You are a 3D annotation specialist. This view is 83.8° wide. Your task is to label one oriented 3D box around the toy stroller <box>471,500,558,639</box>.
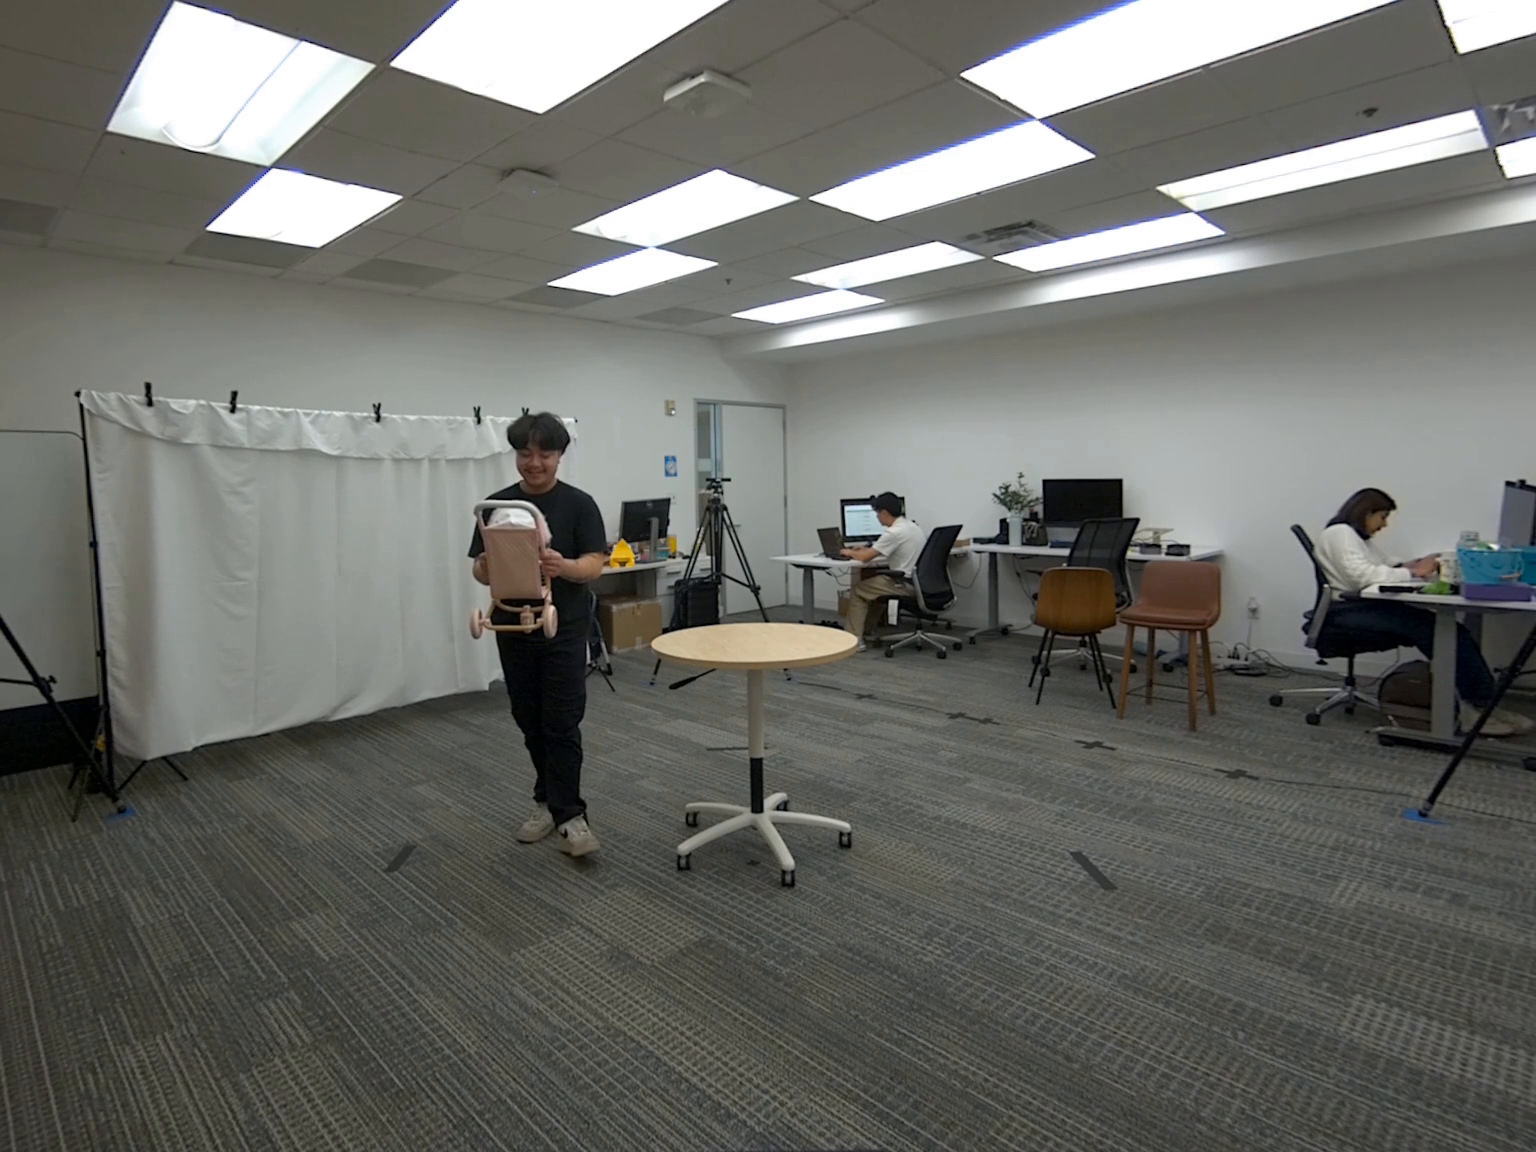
[{"bbox_3d":[-0.863,-0.019,2.960,0.282,0.529,0.344,-1,11,0],"label":"toy stroller"}]
